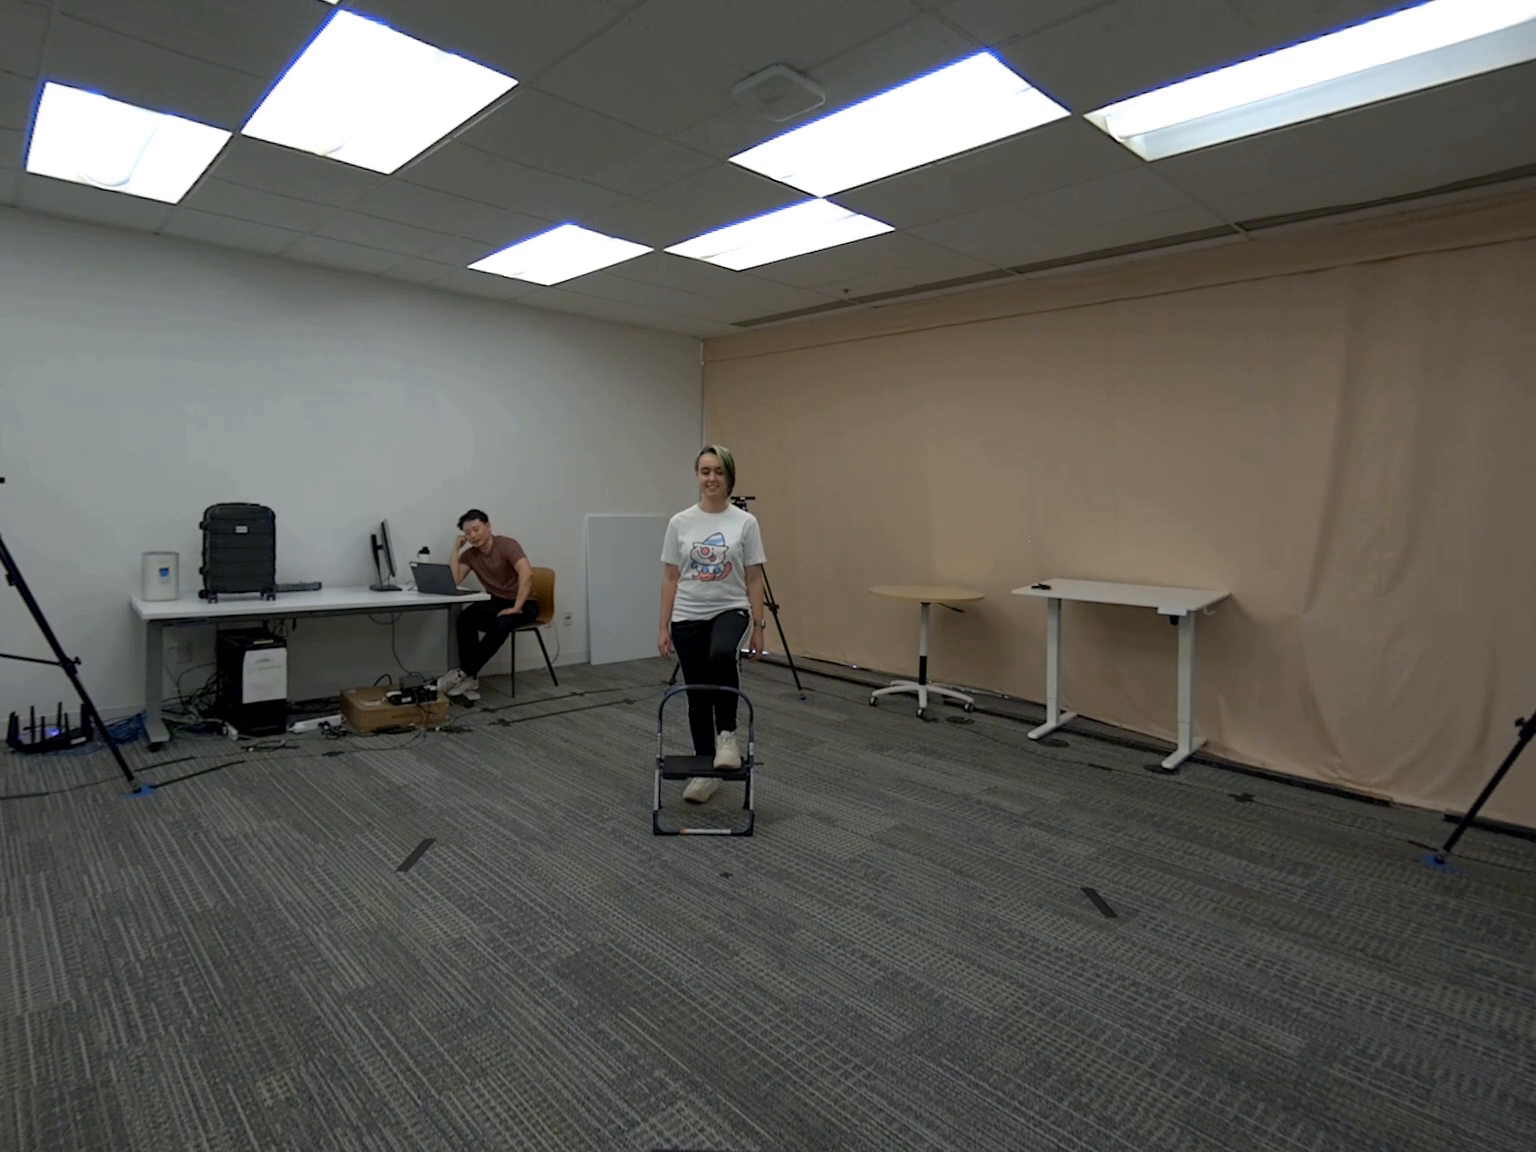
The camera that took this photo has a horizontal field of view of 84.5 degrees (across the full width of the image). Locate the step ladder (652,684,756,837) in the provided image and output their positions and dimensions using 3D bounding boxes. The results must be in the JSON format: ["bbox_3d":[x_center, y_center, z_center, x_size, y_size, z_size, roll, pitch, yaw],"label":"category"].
[{"bbox_3d":[-0.284,0.760,3.614,0.429,0.605,0.351,1,3,-4],"label":"step ladder"}]
